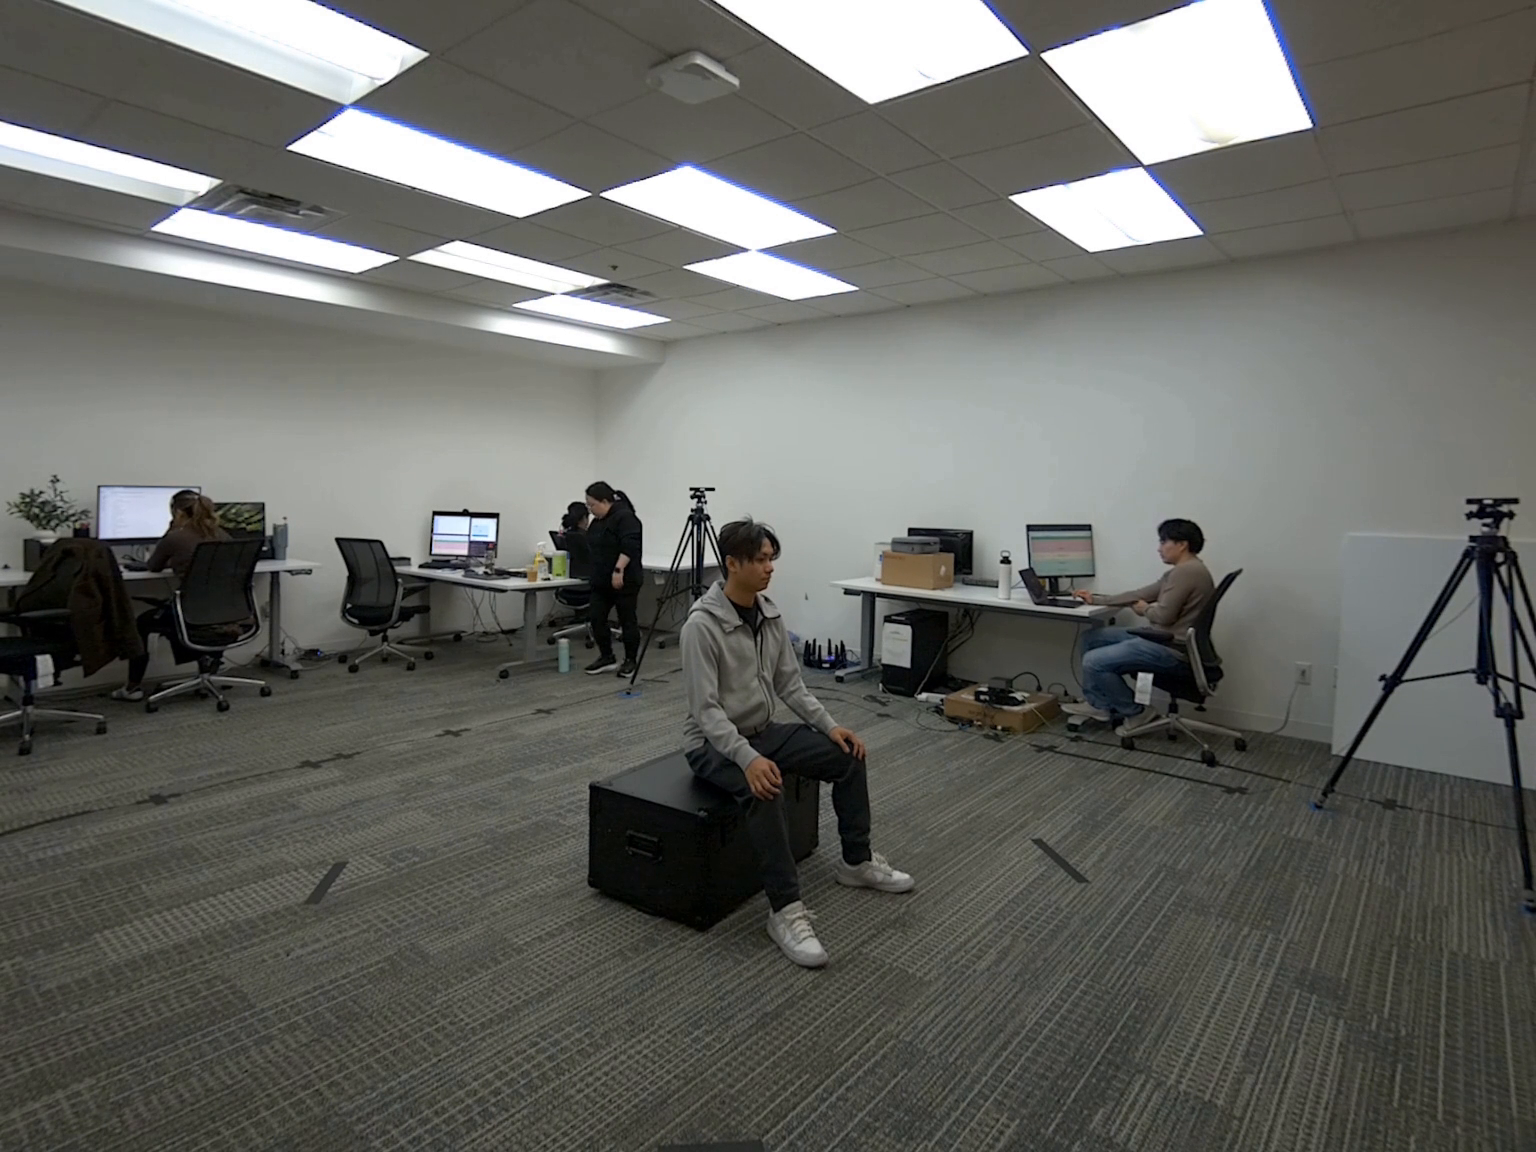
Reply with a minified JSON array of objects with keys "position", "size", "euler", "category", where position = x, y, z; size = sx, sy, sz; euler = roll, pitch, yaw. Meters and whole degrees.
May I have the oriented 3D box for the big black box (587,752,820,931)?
[{"position":[-0.239,0.886,3.059],"size":[0.537,0.395,0.838],"euler":[3,5,32],"category":"big black box"}]
